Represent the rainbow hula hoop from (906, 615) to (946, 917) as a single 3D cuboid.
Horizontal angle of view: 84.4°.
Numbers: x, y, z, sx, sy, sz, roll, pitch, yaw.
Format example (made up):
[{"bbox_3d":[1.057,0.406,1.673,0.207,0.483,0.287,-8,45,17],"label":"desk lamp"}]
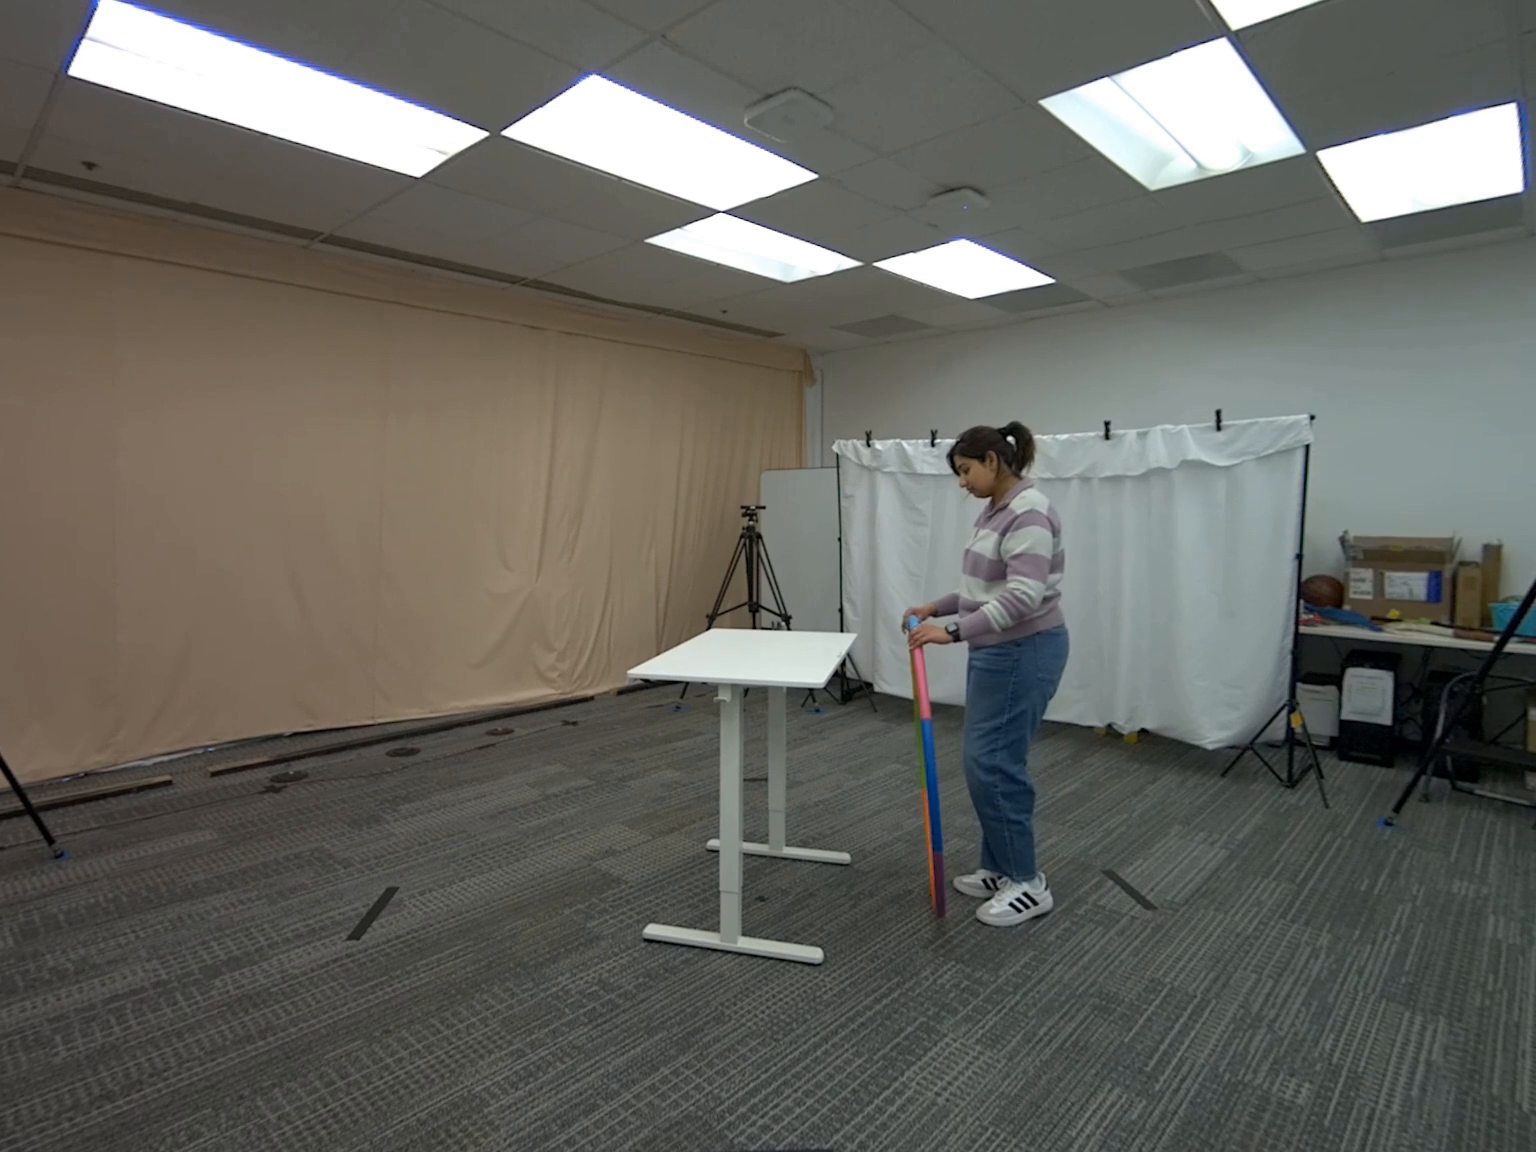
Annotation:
[{"bbox_3d":[0.548,0.642,2.877,0.036,0.977,0.970,-5,3,9],"label":"rainbow hula hoop"}]
